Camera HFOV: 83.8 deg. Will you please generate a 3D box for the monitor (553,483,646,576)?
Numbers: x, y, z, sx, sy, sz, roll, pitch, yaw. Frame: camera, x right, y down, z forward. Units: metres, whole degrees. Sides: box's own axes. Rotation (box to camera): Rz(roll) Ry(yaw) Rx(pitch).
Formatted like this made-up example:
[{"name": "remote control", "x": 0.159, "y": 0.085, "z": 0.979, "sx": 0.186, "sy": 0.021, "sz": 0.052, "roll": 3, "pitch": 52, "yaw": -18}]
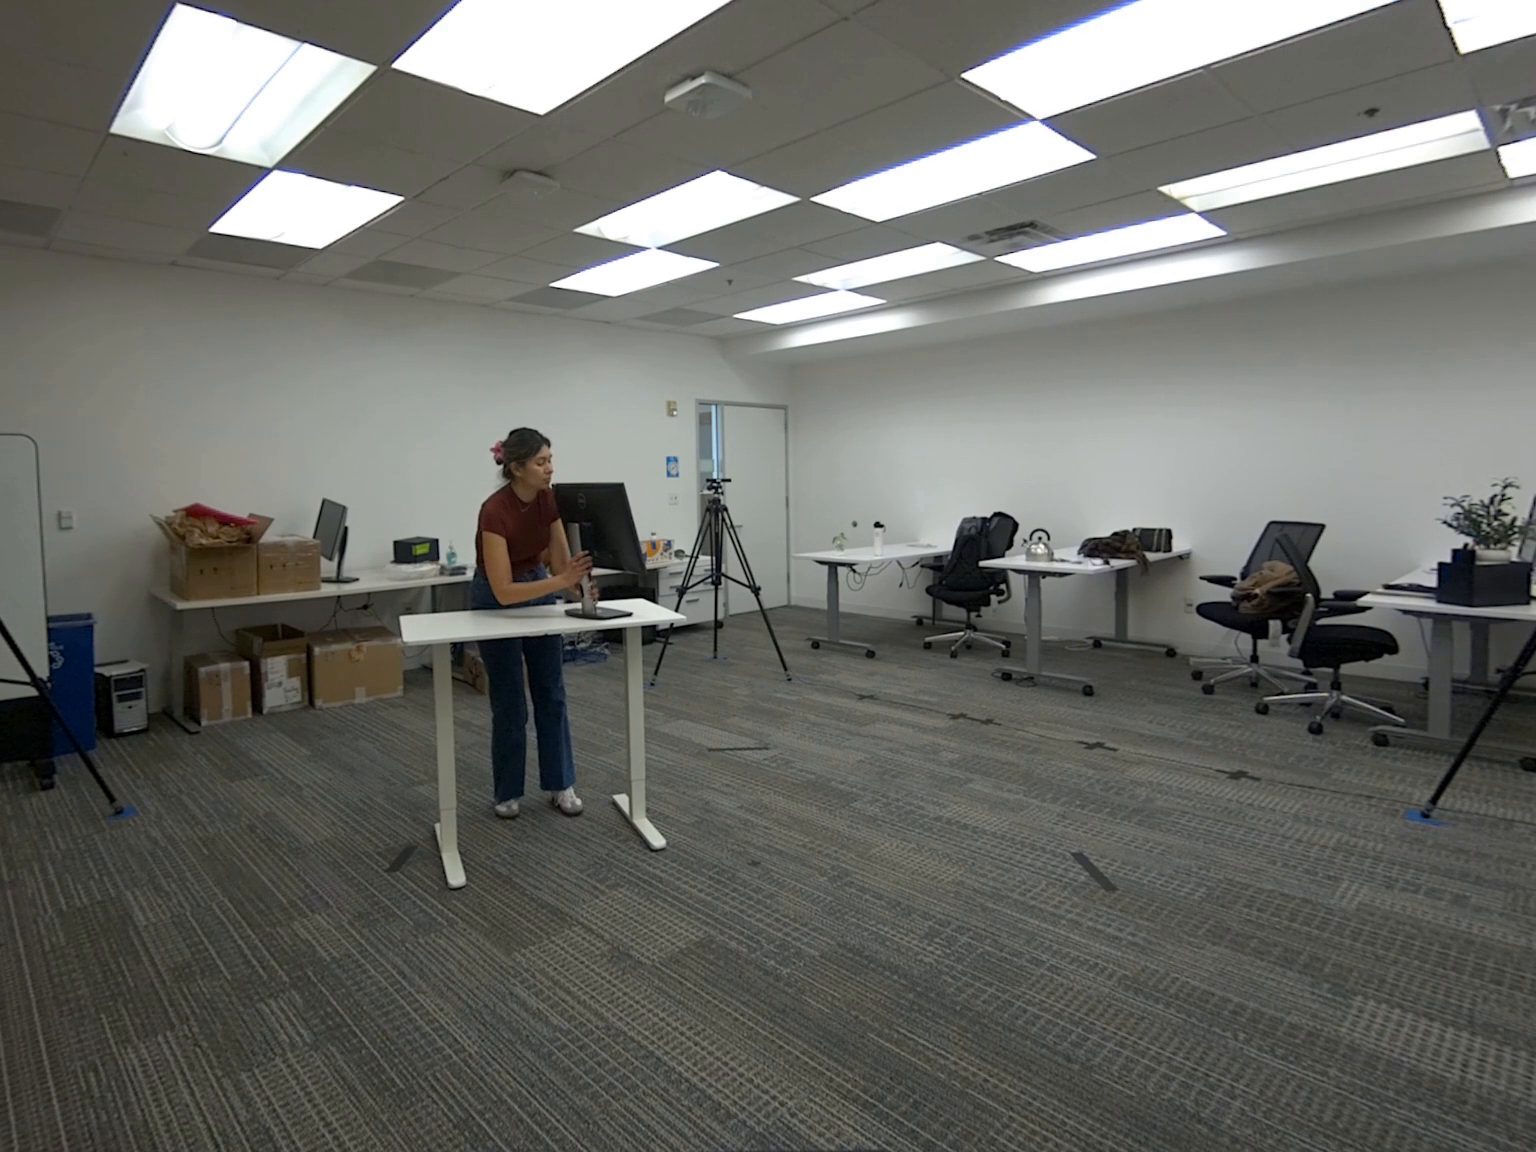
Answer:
[{"name": "monitor", "x": -0.679, "y": -0.098, "z": 3.301, "sx": 0.182, "sy": 0.520, "sz": 0.555, "roll": -8, "pitch": 8, "yaw": -41}]
